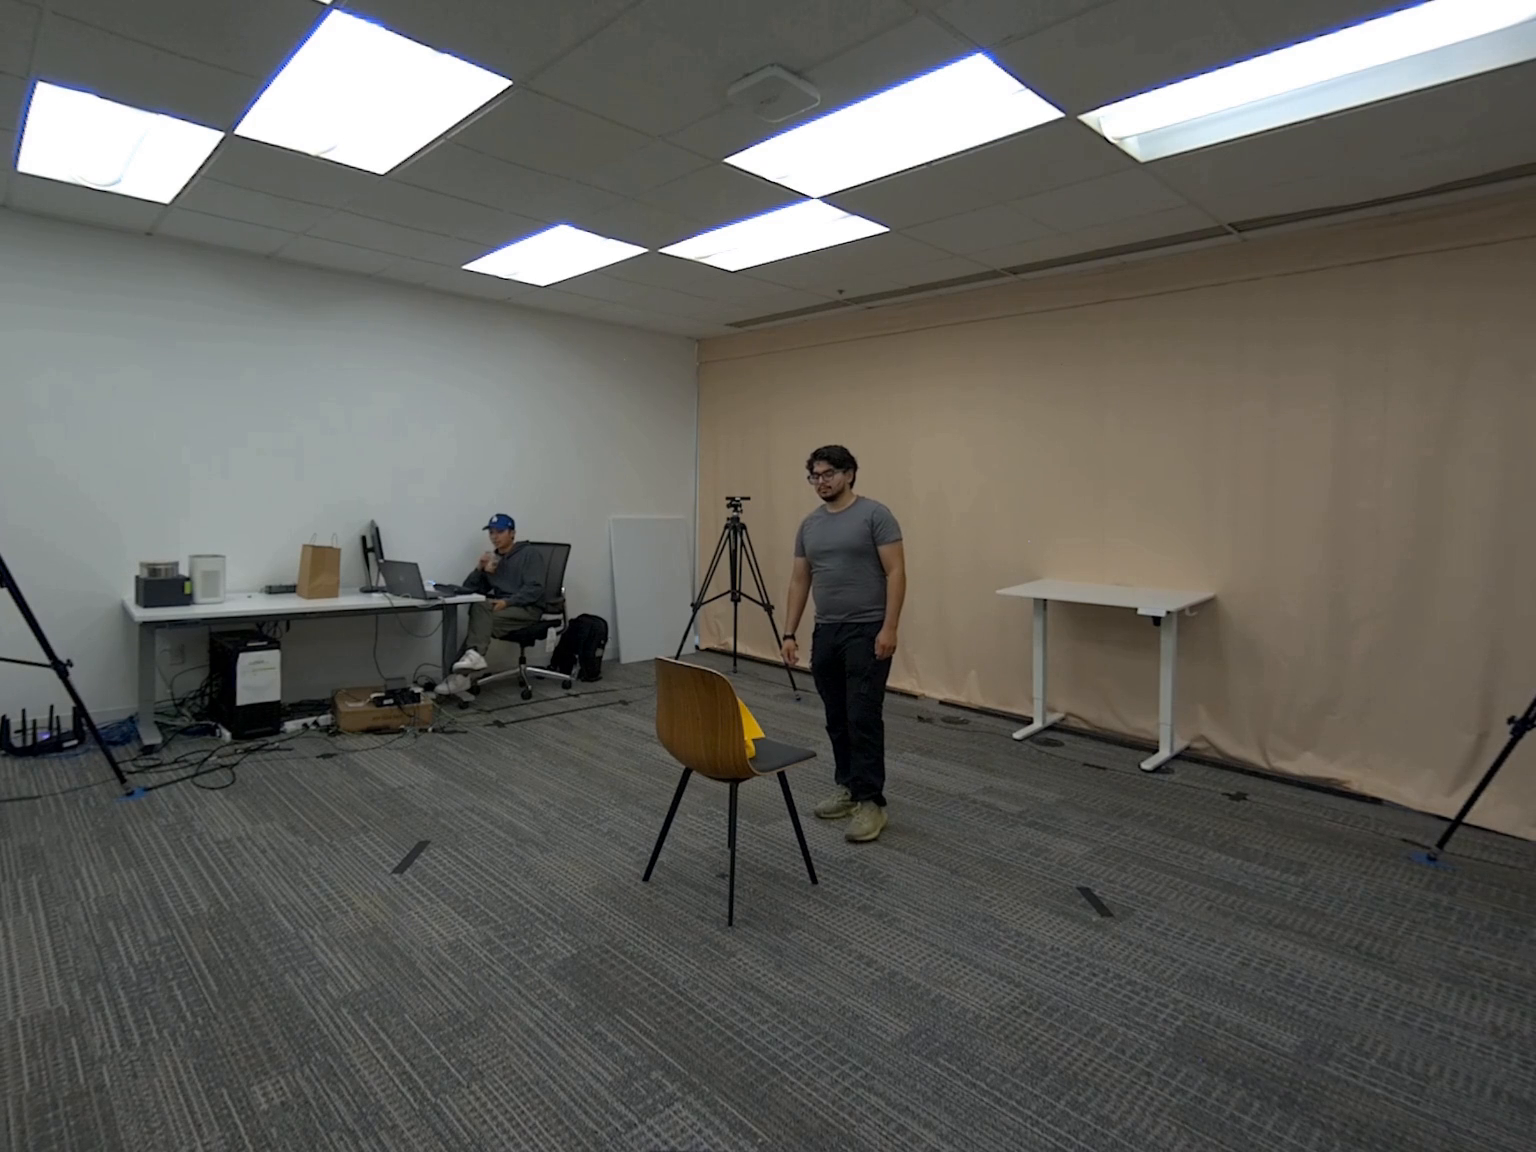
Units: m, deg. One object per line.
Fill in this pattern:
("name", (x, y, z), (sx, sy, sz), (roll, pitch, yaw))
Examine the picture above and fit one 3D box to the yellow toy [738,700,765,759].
("yellow toy", (-0.154, 0.528, 3.000), (0.201, 0.230, 0.197), (-4, 7, -29))
